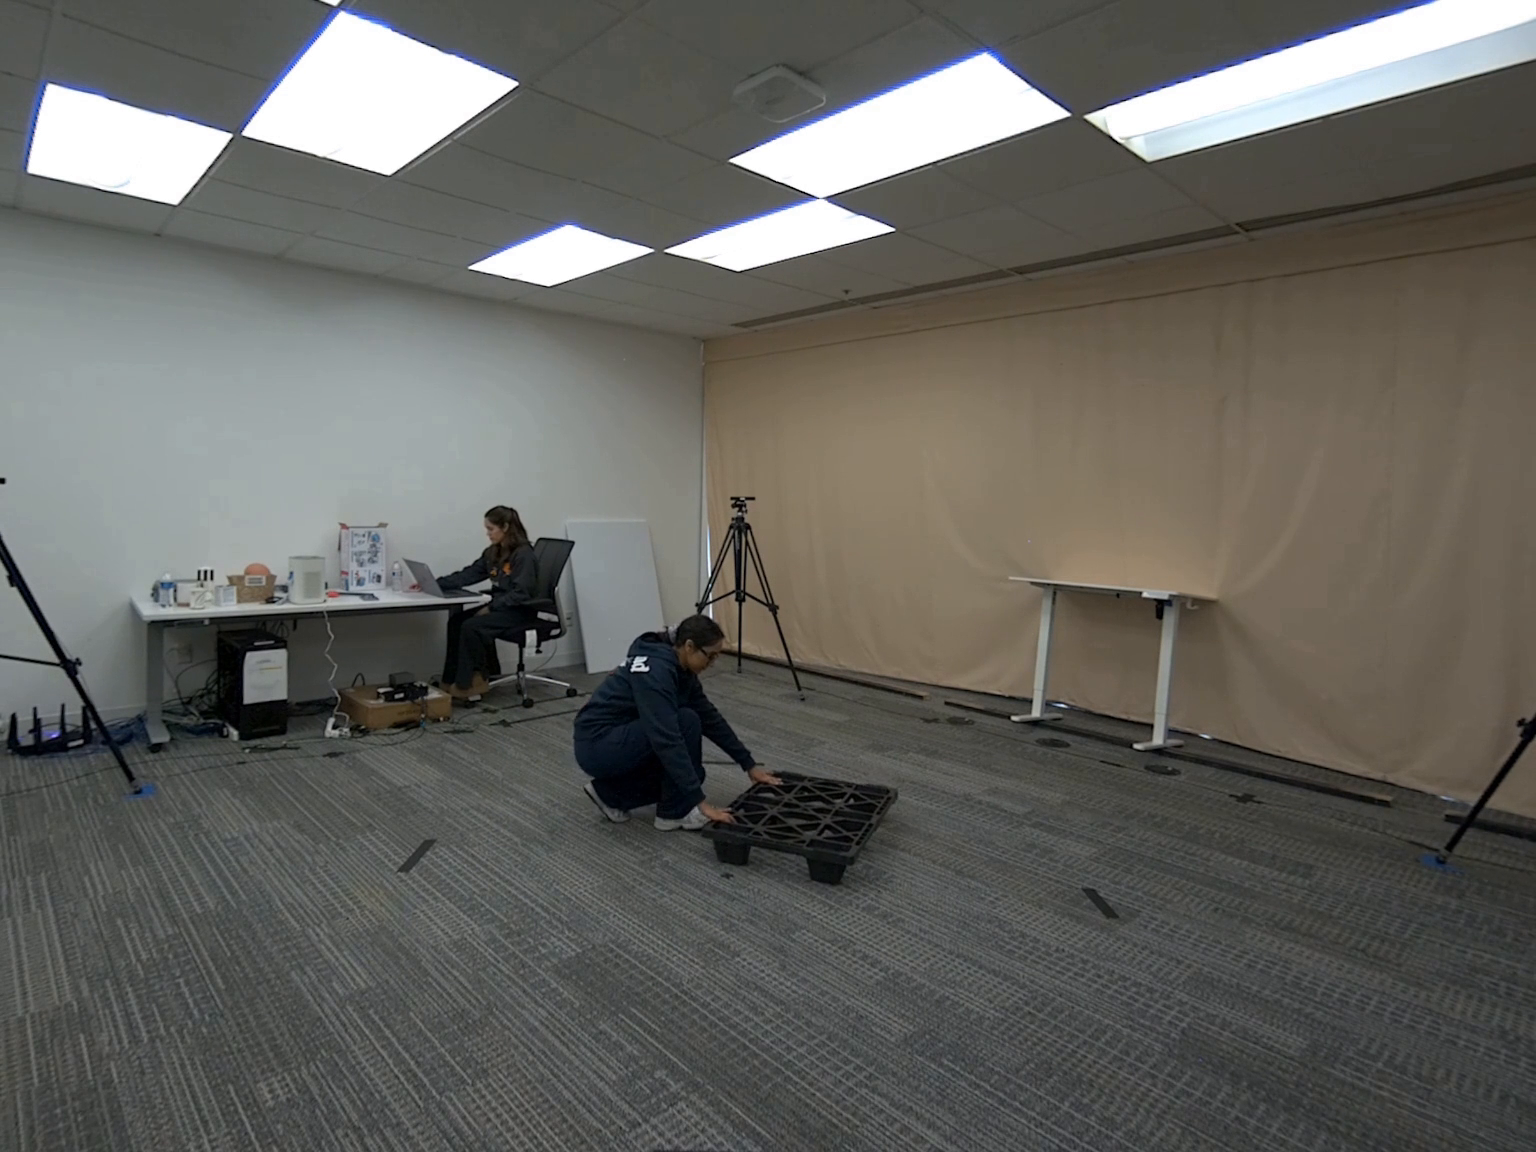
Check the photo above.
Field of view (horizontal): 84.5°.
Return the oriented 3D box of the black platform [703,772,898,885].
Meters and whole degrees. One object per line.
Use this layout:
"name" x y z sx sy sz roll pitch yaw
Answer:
"black platform" 0.141 1.012 3.462 0.615 0.143 0.794 3 5 21
